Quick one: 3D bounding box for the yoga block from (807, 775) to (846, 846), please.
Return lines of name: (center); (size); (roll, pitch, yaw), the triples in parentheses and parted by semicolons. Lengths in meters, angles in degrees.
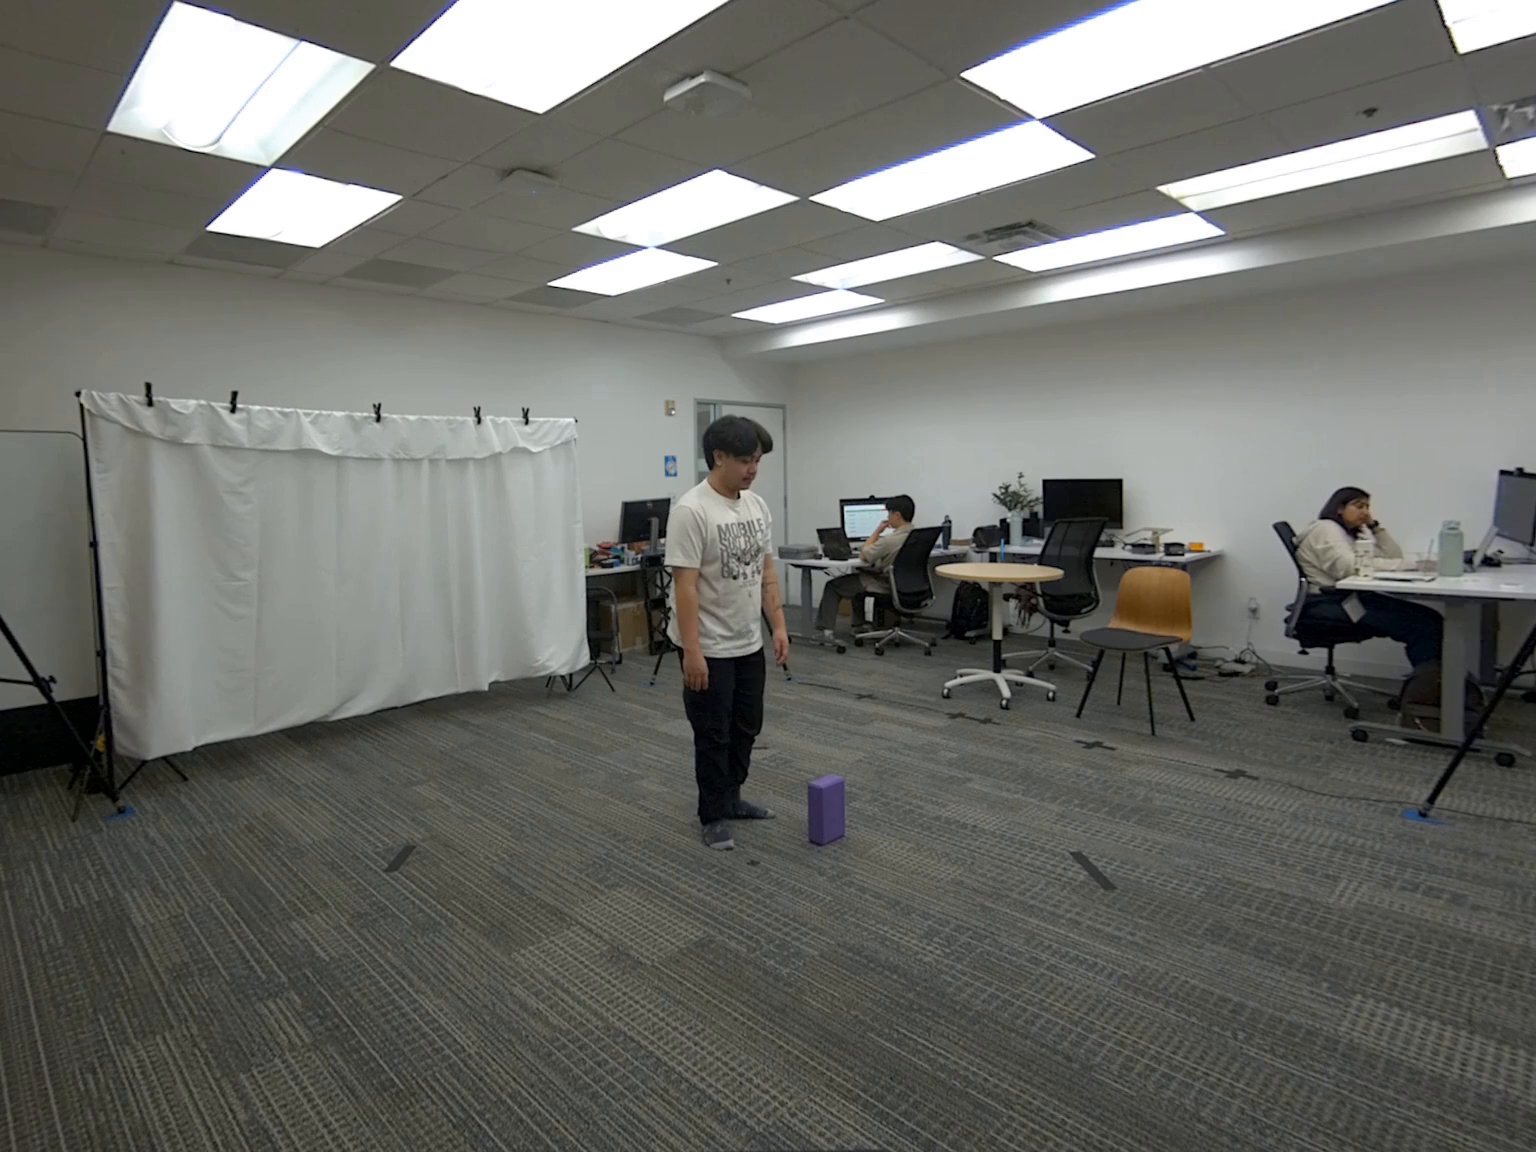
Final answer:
yoga block: (0.228, 0.901, 3.300); (0.079, 0.229, 0.145); (2, 4, 44)
